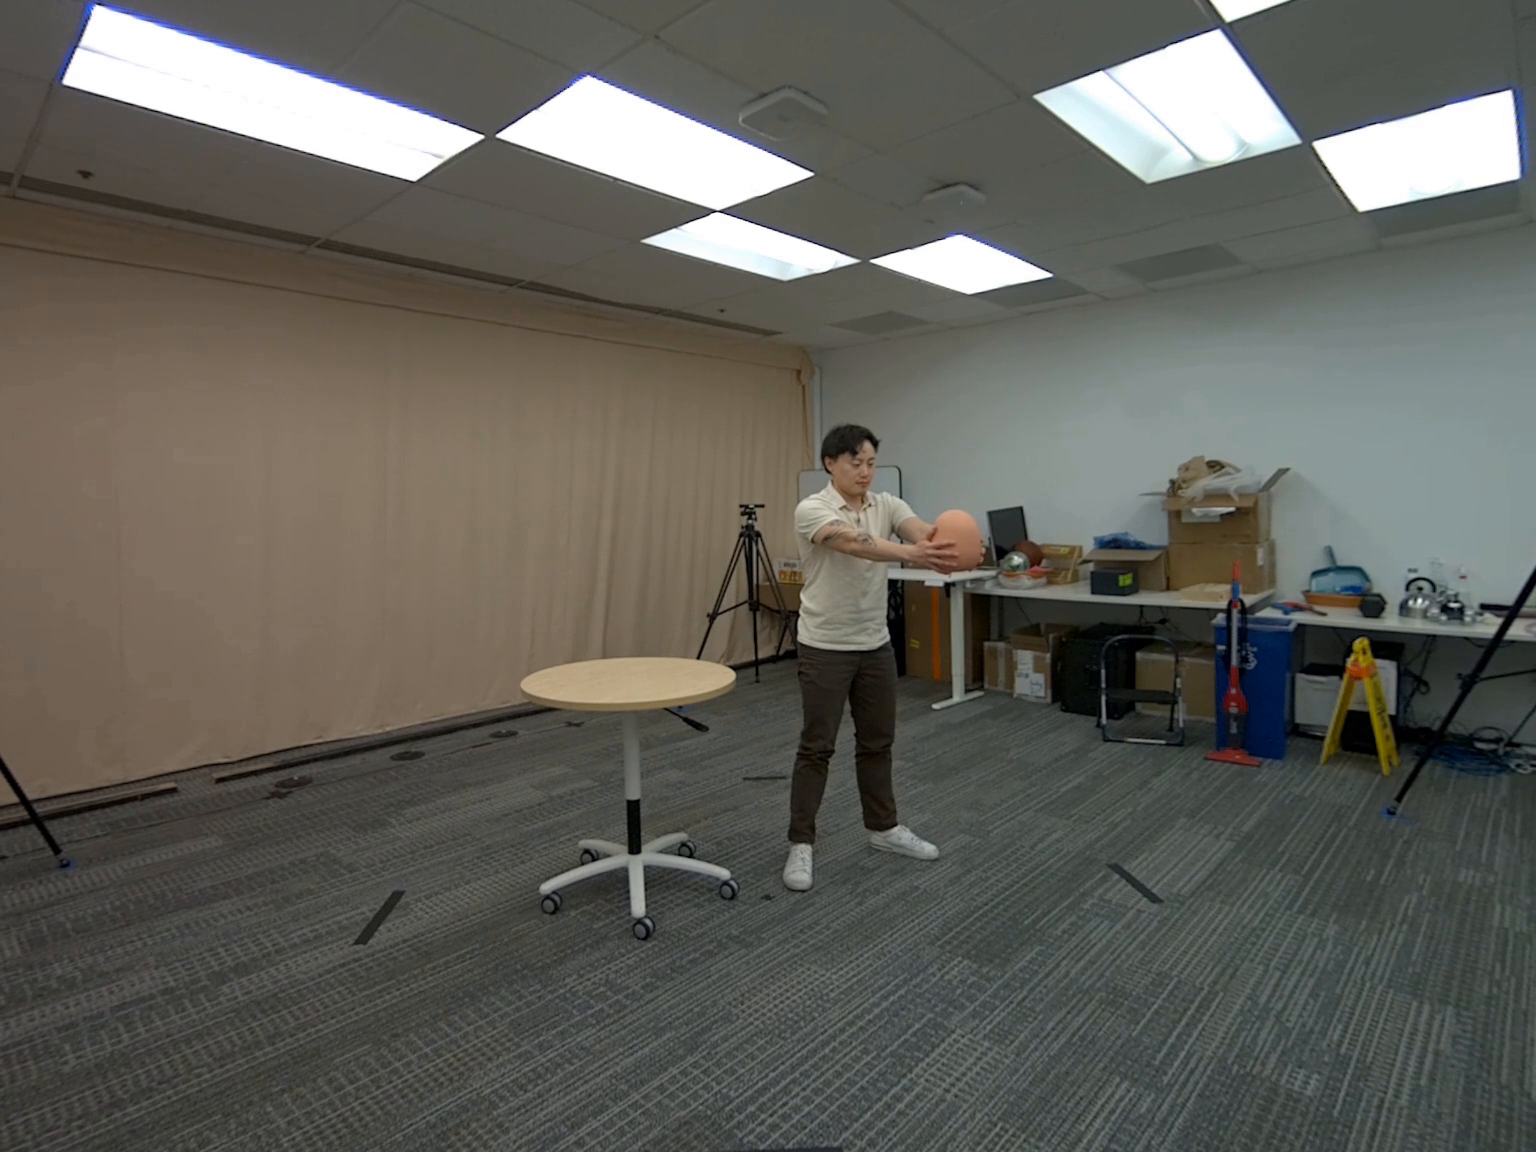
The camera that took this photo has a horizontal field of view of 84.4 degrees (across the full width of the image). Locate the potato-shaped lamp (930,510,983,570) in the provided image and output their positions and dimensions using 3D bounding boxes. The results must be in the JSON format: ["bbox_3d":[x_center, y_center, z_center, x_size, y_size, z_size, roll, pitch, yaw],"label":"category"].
[{"bbox_3d":[0.592,-0.113,2.706,0.161,0.196,0.177,-8,13,-27],"label":"potato-shaped lamp"}]
